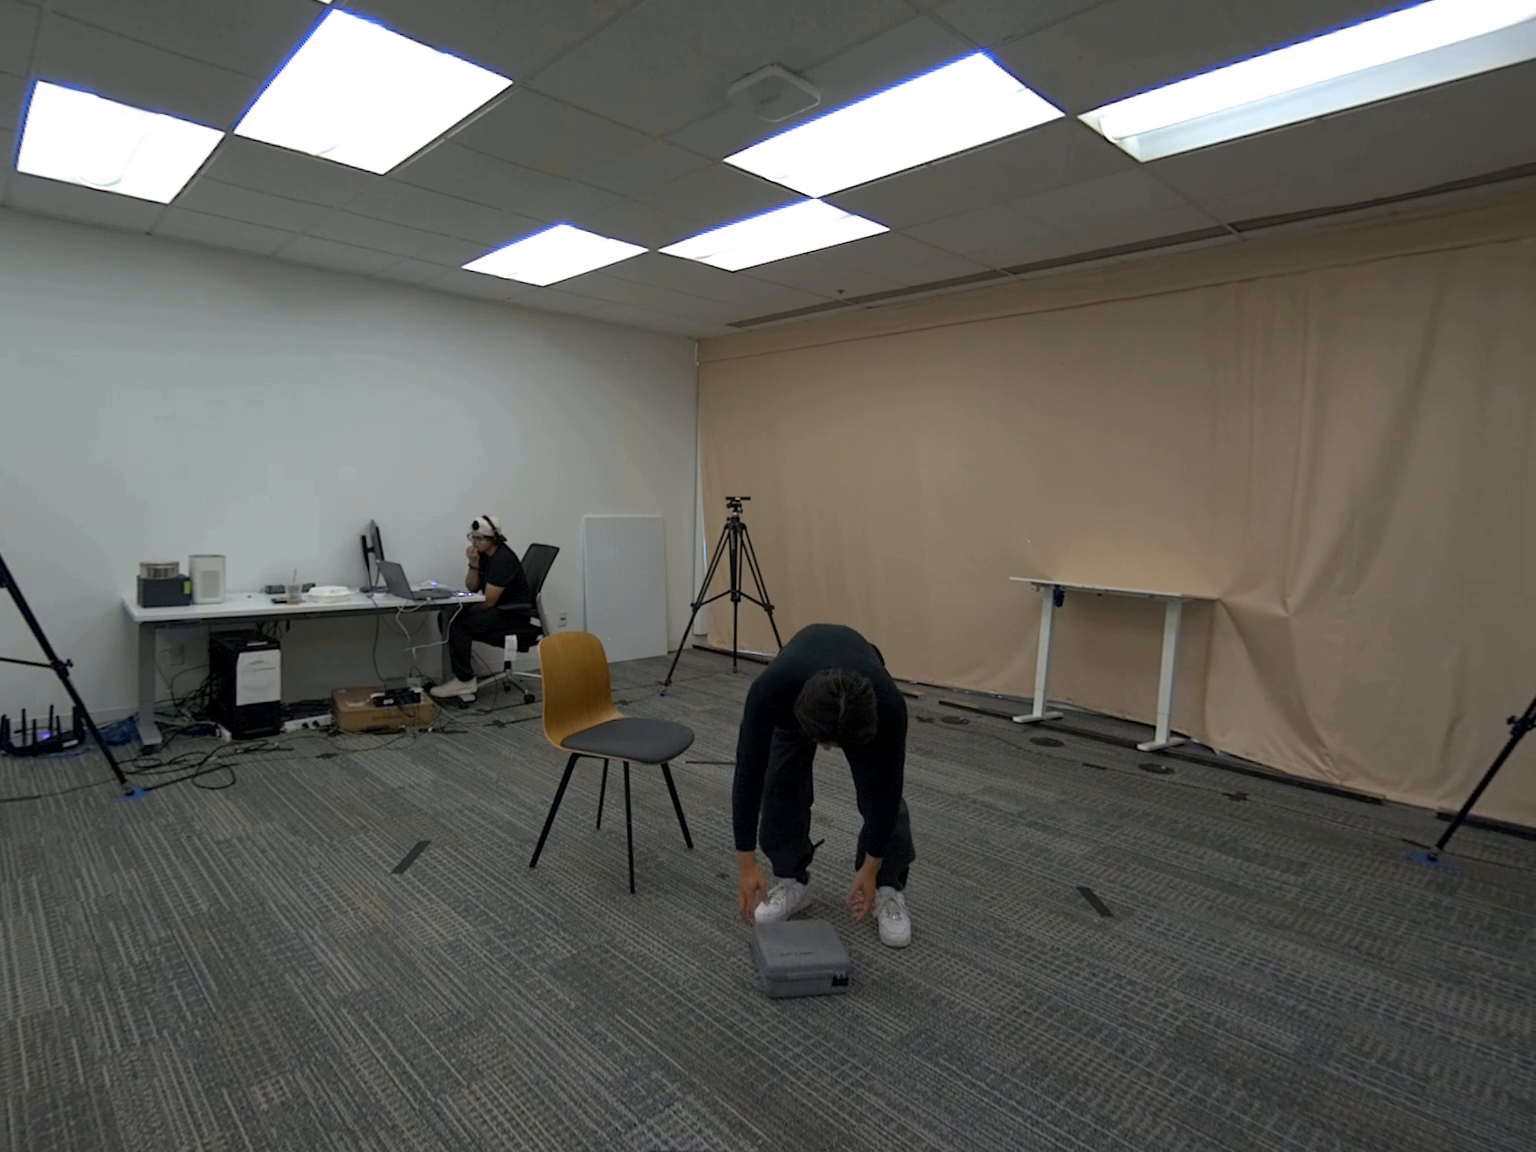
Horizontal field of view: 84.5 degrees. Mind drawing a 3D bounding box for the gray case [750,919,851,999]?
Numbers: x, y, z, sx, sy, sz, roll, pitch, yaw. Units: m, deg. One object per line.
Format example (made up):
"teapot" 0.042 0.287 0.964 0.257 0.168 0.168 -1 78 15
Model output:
"gray case" 0.078 1.110 2.473 0.255 0.104 0.263 1 6 -10
